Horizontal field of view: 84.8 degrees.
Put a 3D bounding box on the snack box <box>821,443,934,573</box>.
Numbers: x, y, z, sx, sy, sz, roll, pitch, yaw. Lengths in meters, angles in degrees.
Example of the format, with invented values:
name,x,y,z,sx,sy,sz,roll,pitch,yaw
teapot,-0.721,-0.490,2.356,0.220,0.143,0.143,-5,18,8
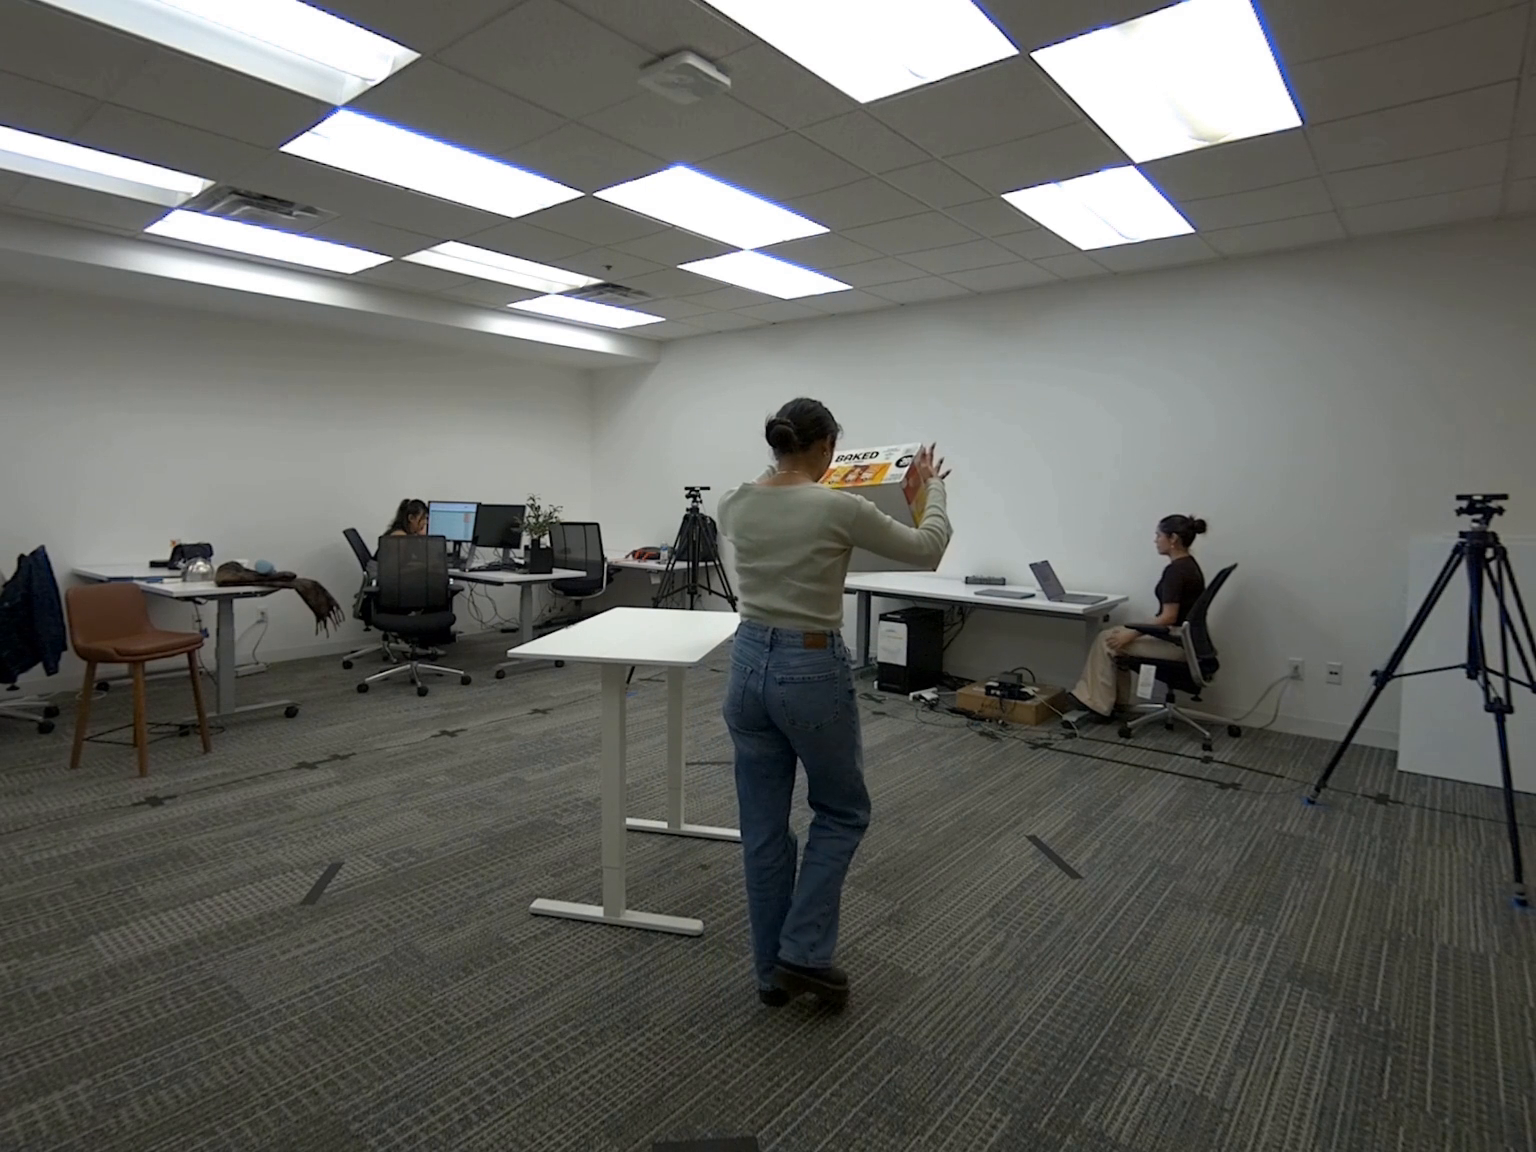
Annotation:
name,x,y,z,sx,sy,sz,roll,pitch,yaw
snack box,0.307,-0.202,2.668,0.417,0.329,0.206,-1,37,36
